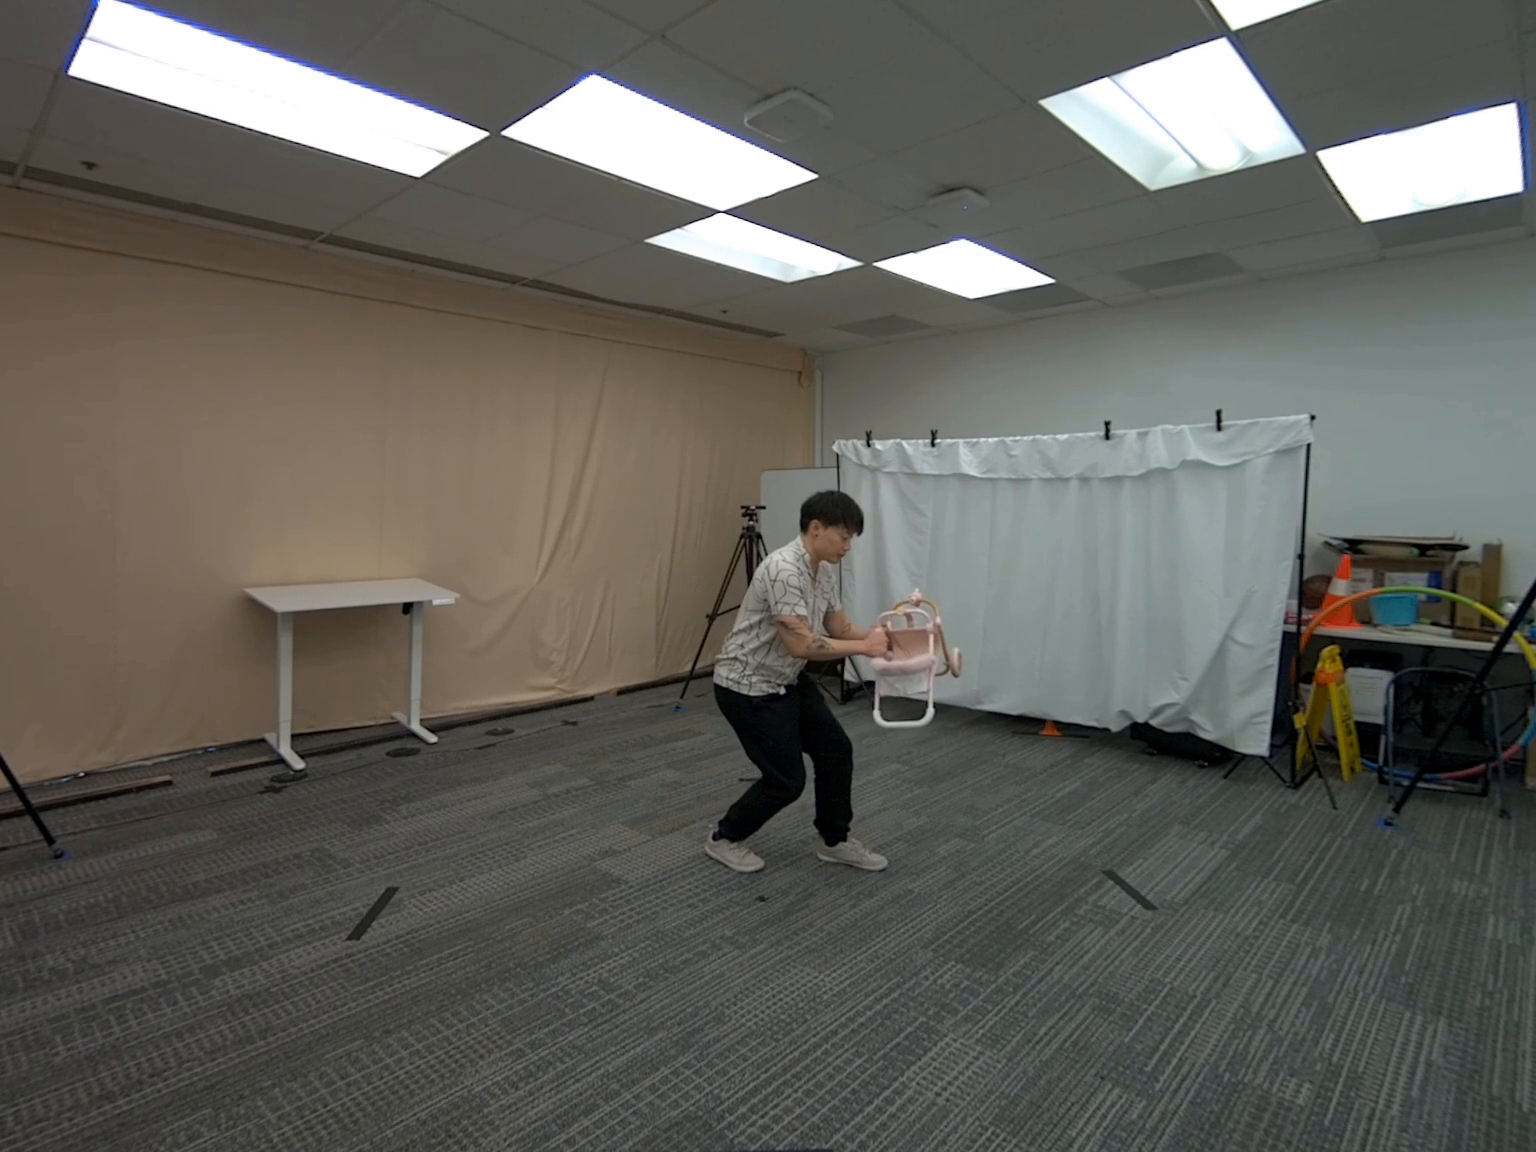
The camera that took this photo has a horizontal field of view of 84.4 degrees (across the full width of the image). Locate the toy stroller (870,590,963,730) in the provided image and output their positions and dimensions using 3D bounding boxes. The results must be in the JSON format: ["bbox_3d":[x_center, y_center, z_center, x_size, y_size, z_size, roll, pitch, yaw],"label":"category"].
[{"bbox_3d":[0.516,0.271,3.011,0.288,0.338,0.528,-3,16,24],"label":"toy stroller"}]
